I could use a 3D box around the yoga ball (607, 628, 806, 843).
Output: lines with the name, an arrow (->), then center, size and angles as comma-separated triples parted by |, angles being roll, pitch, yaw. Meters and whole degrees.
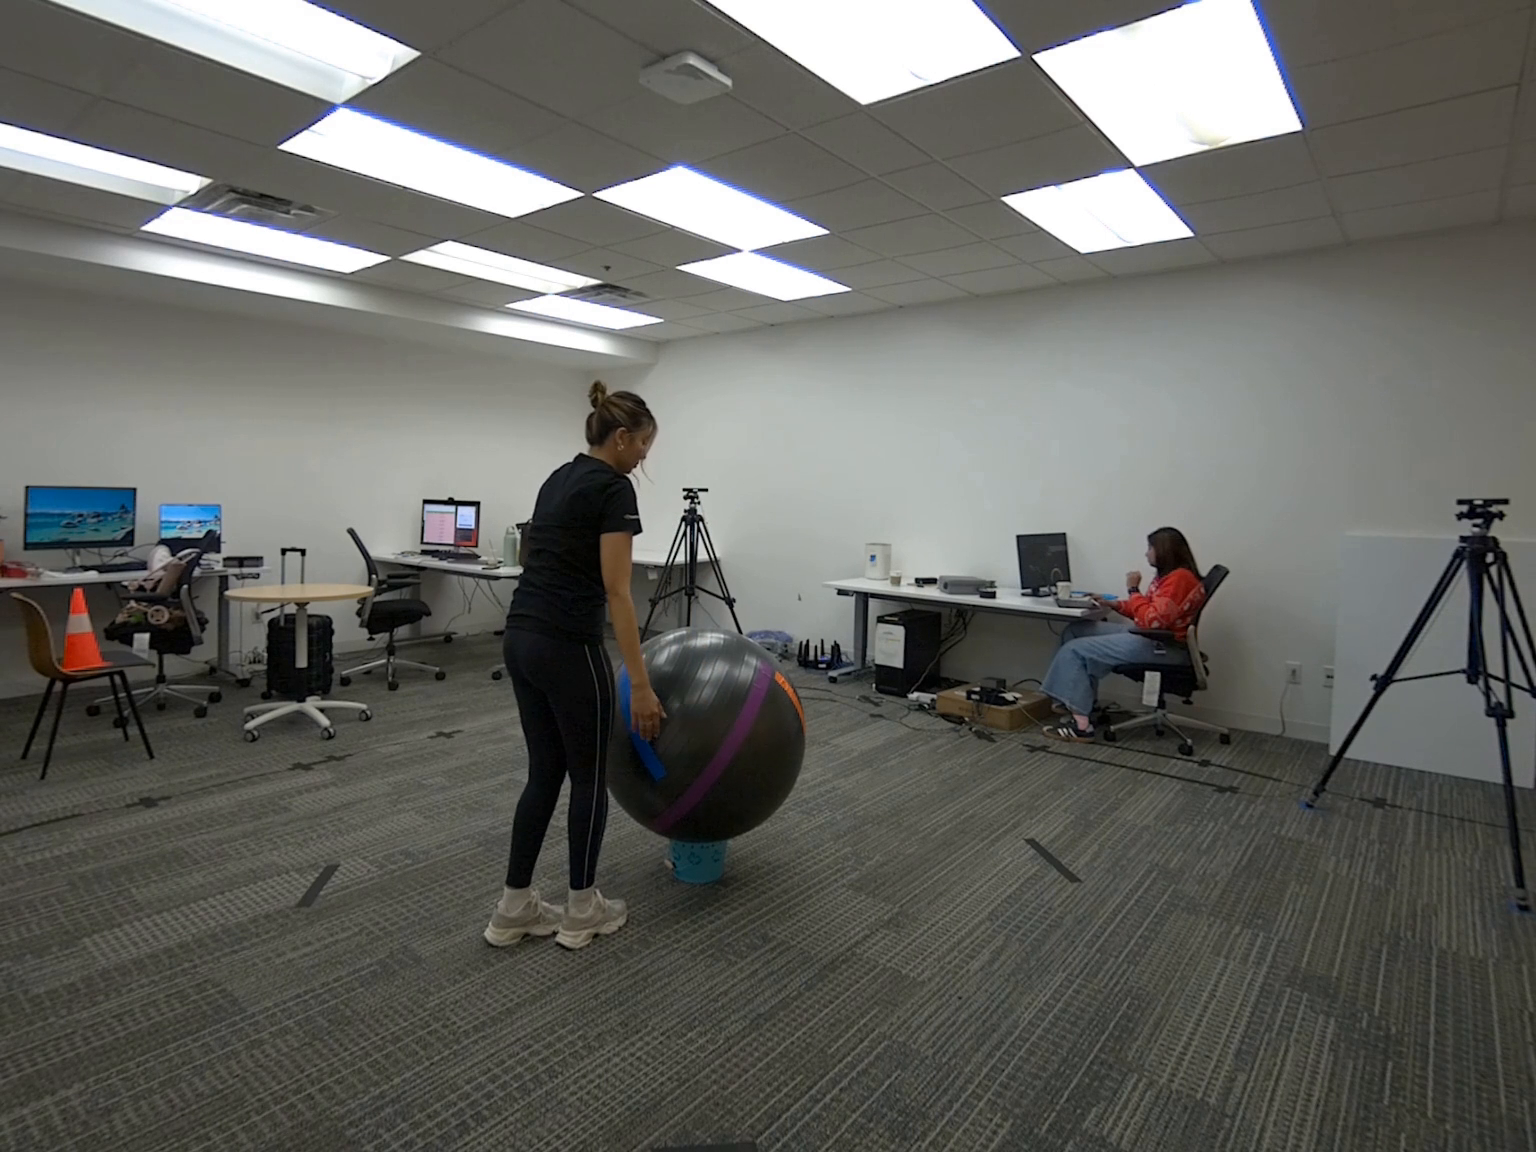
yoga ball -> -0.246, 0.565, 3.069 | 0.757, 0.756, 0.762 | 1, 4, -2
